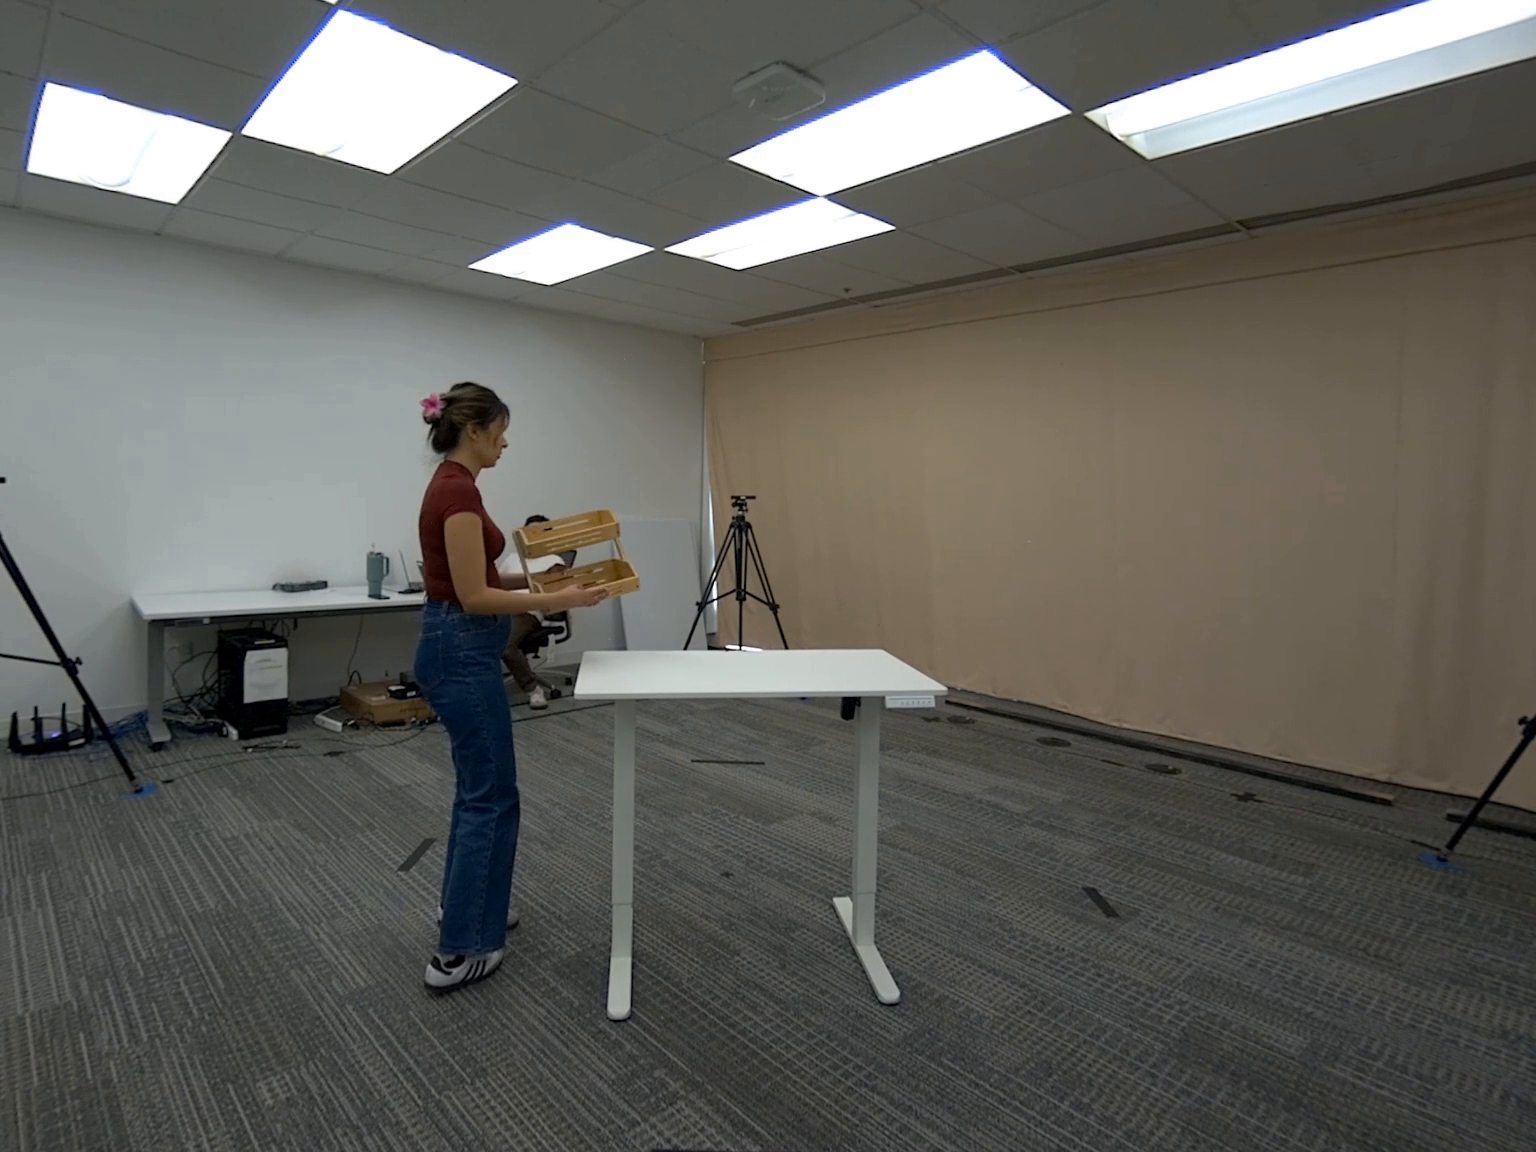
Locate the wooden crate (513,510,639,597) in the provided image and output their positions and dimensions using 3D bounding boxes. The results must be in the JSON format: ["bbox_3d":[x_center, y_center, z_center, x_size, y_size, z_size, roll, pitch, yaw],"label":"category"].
[{"bbox_3d":[-0.628,-0.057,2.681,0.320,0.271,0.308,-15,9,-23],"label":"wooden crate"}]
